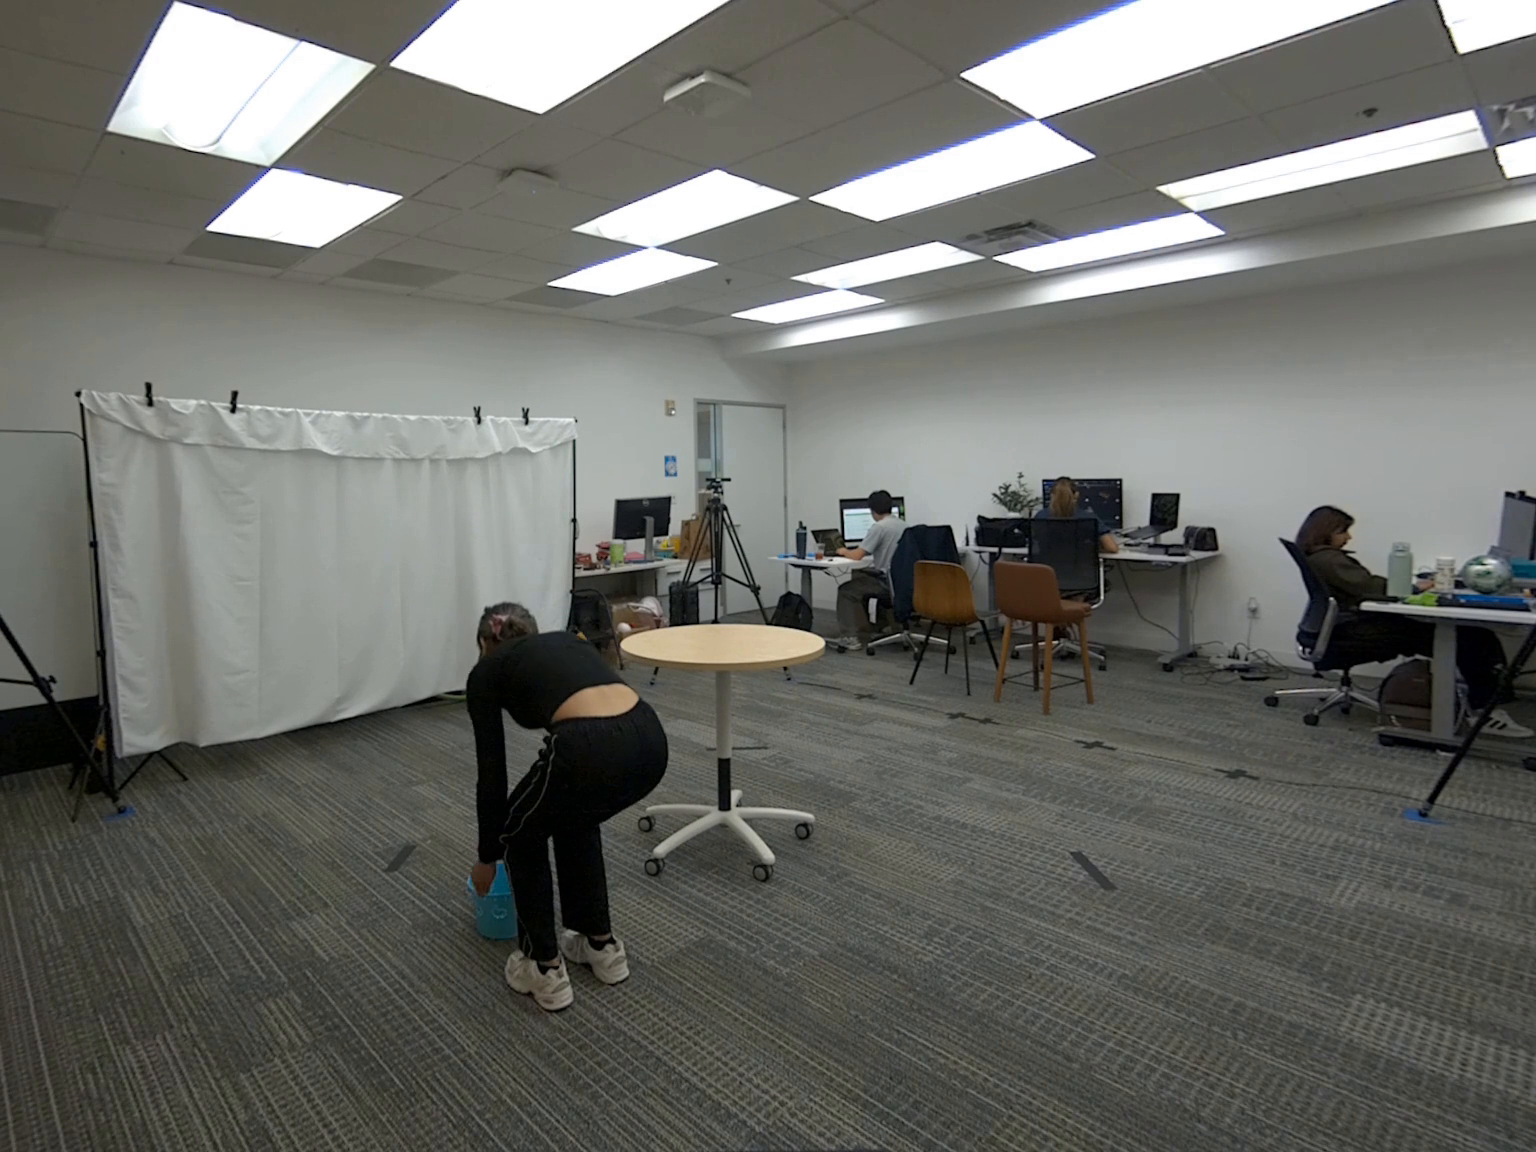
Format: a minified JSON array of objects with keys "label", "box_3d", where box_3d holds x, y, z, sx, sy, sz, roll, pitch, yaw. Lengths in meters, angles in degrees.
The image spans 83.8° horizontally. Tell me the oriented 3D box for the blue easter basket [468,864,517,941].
[{"label":"blue easter basket","box_3d":[-0.820,1.027,2.711,0.243,0.155,0.245,0,6,-2]}]
